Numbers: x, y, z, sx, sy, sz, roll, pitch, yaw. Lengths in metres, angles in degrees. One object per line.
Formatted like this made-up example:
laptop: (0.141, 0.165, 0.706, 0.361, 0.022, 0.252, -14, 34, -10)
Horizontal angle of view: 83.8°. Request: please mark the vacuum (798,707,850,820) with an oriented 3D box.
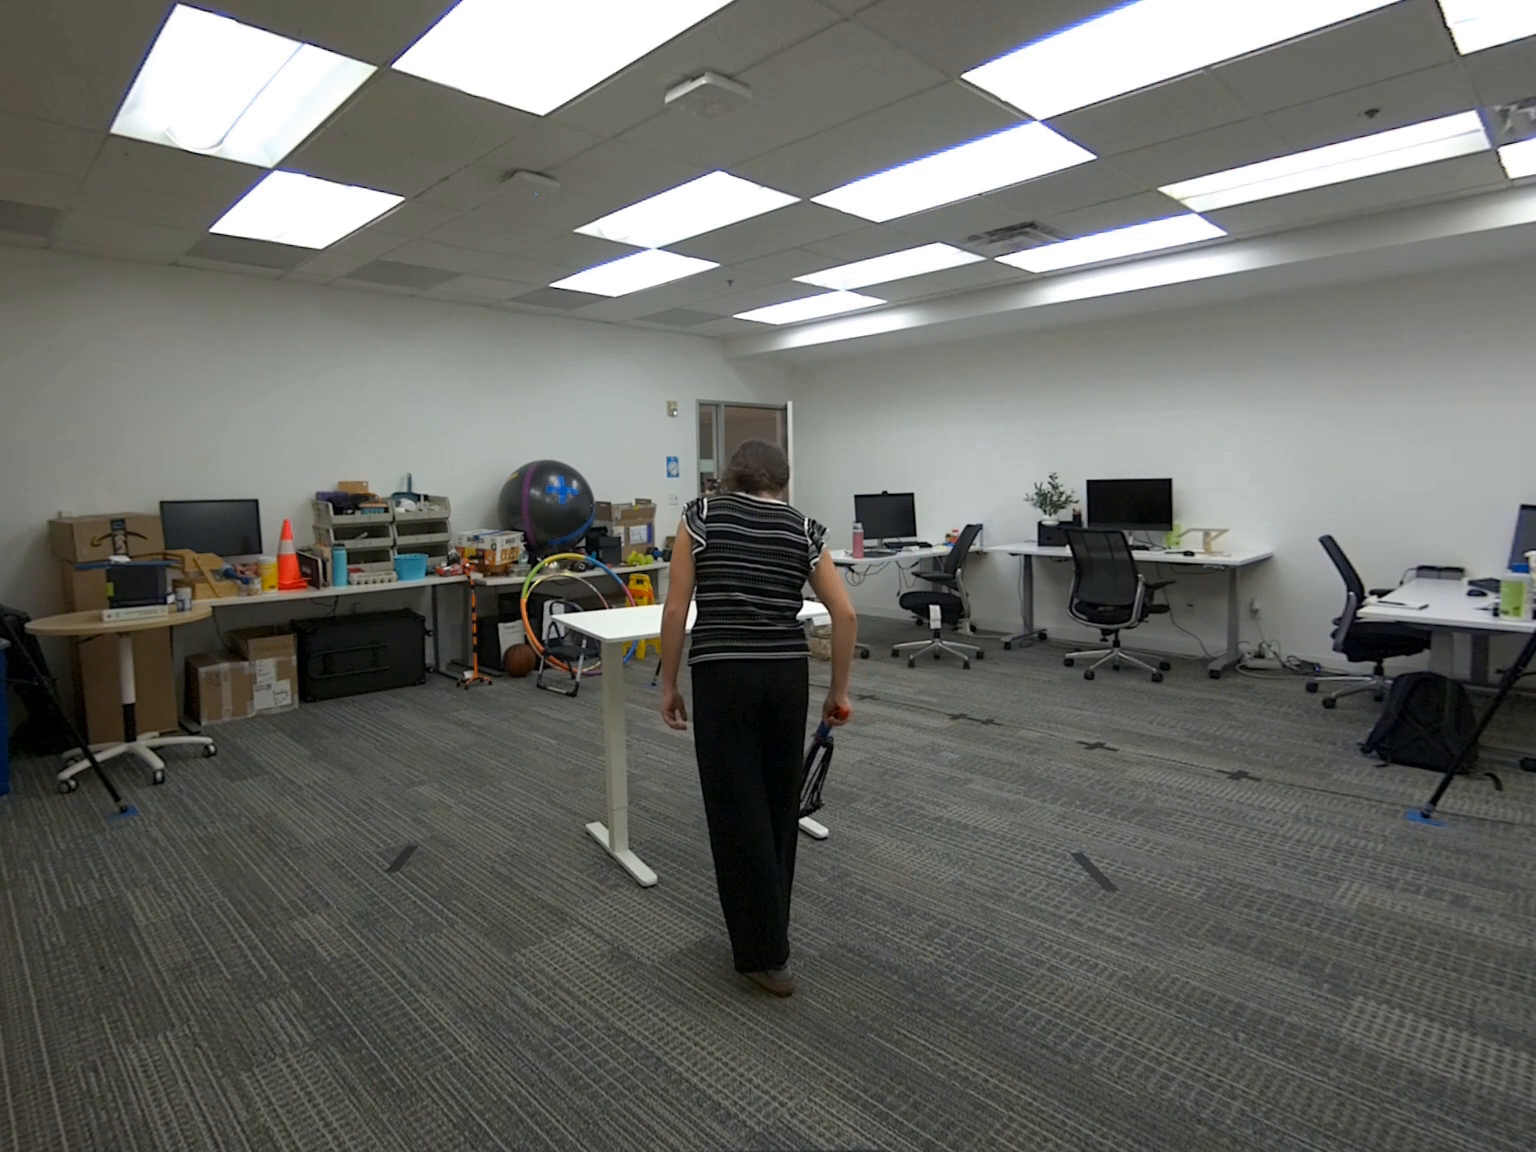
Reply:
vacuum: (0.093, 0.711, 2.762, 0.248, 0.149, 1.032, -3, -37, -20)
